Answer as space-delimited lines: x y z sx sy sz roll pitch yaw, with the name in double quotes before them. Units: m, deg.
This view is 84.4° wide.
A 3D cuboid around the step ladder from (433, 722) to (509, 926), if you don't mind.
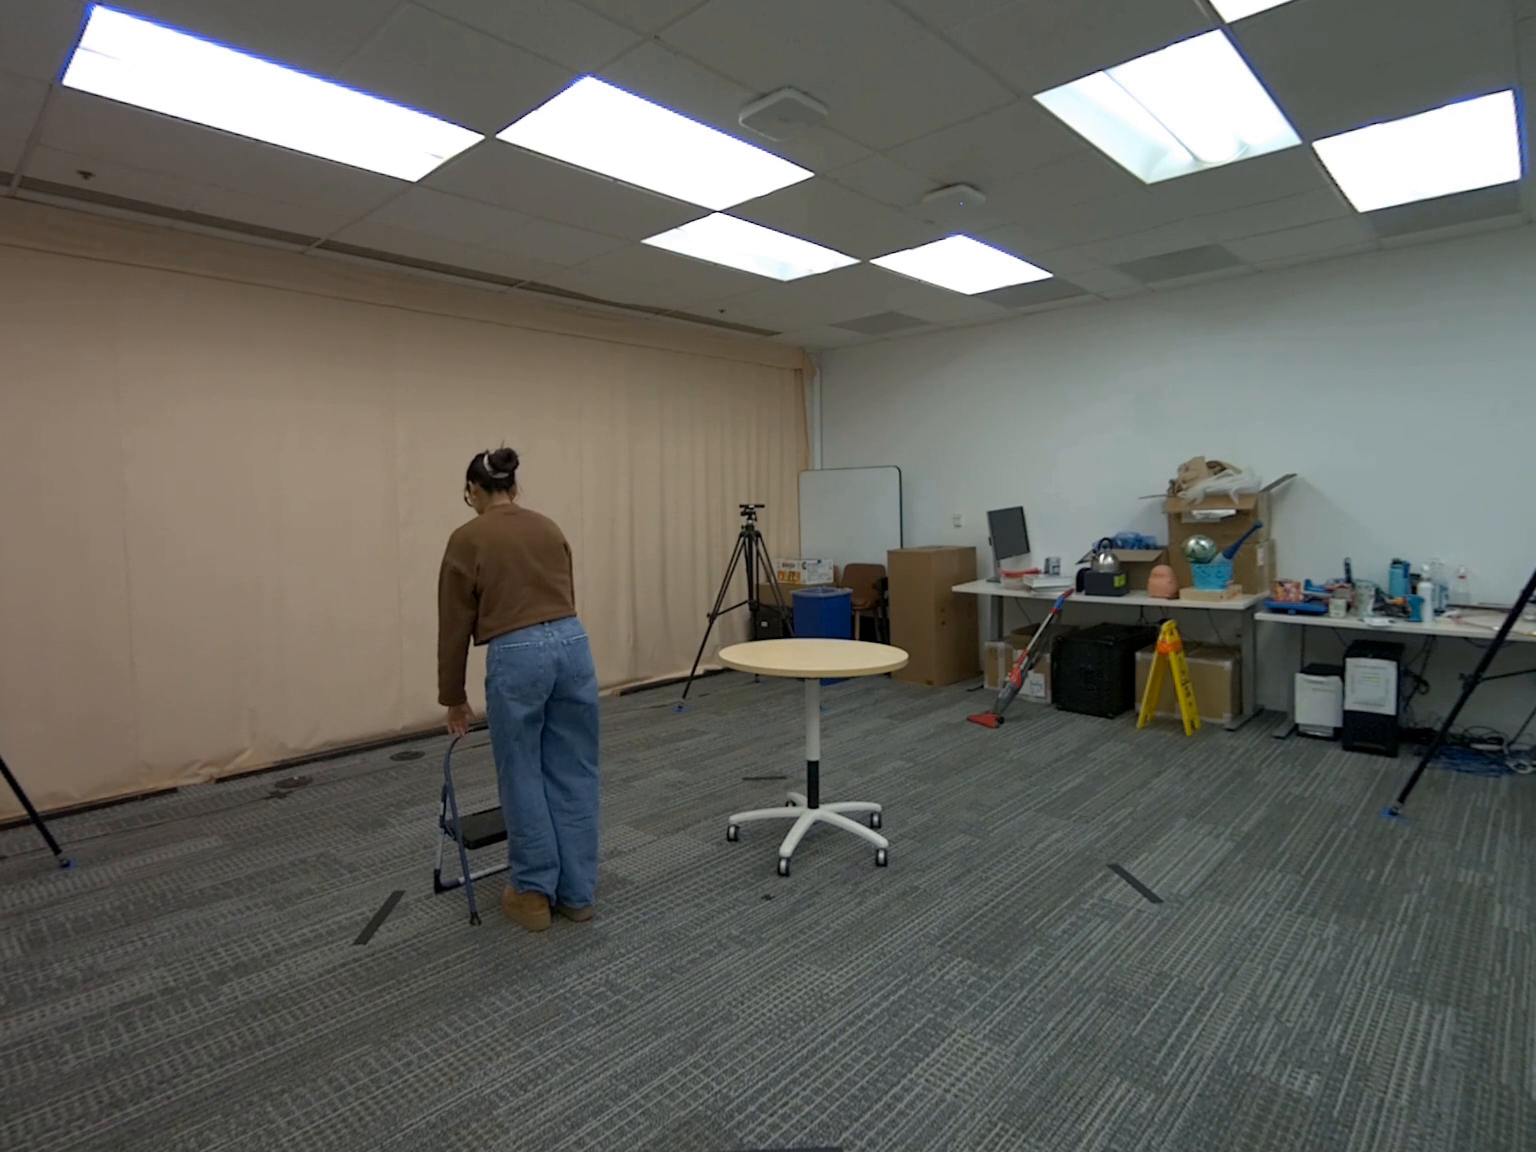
"step ladder" -0.973 0.859 3.086 0.417 0.604 0.361 -5 6 -44
